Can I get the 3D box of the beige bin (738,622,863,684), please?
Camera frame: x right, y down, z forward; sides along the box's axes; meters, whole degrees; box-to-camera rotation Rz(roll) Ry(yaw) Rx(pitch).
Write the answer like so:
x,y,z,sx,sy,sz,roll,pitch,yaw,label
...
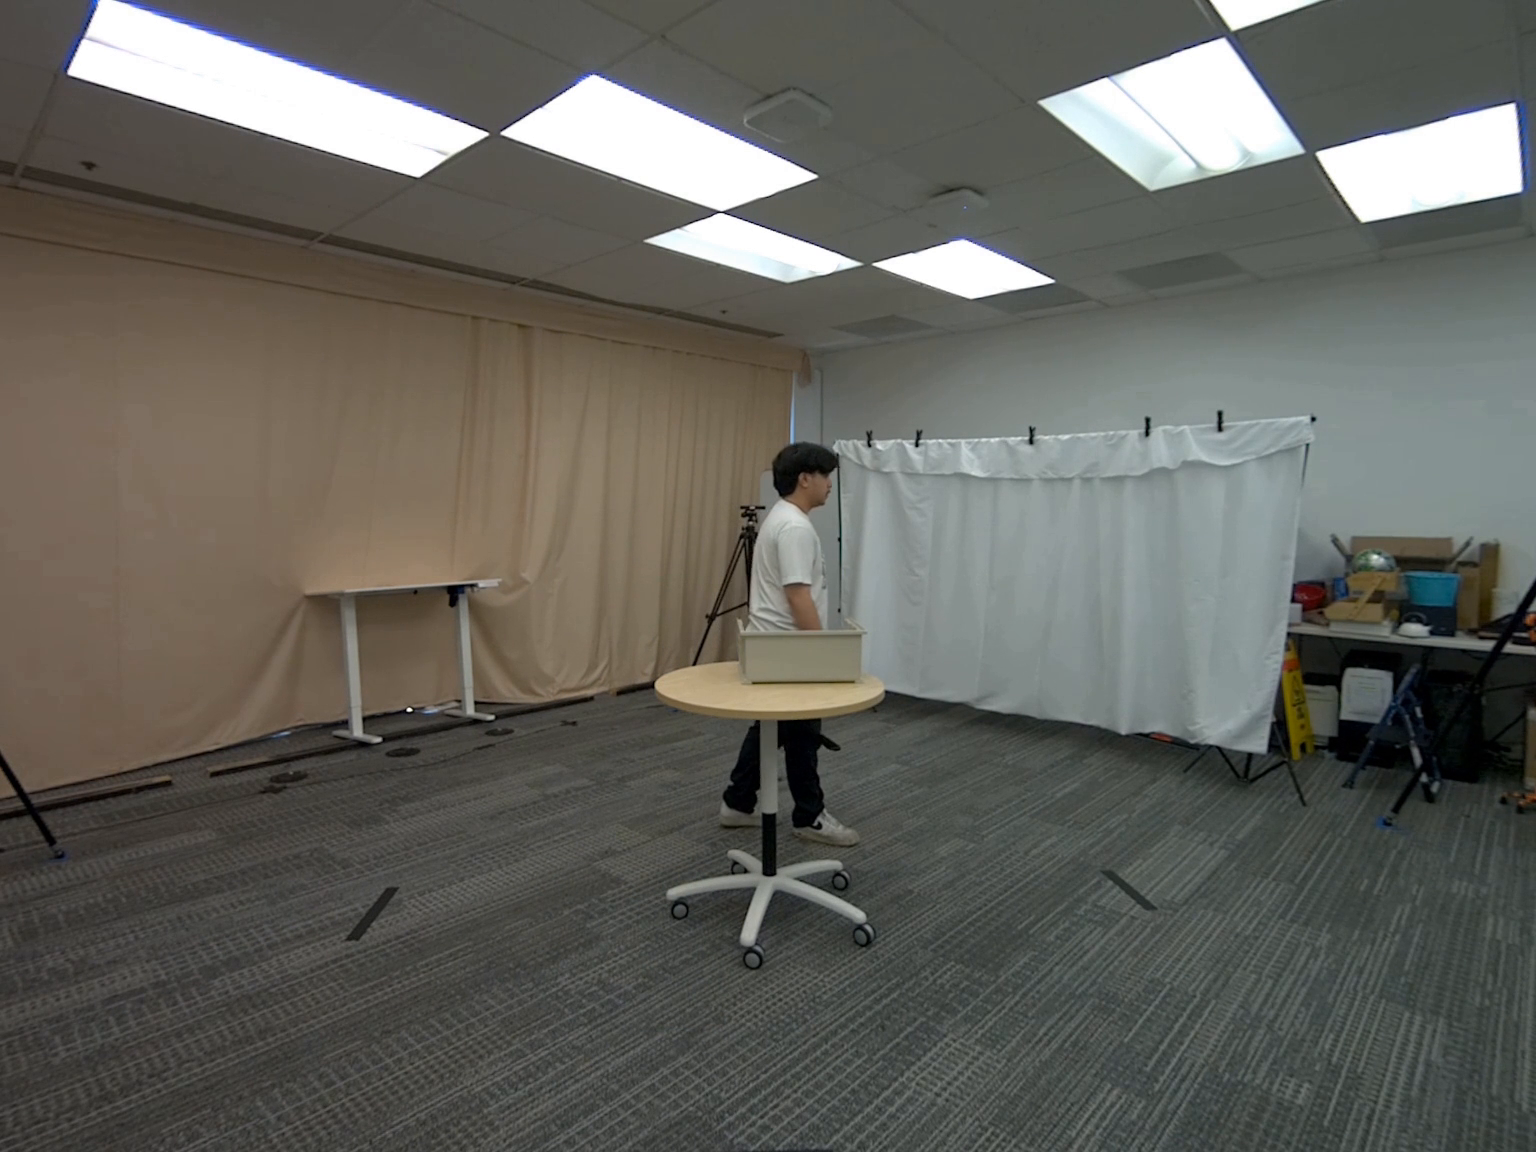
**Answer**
x,y,z,sx,sy,sz,roll,pitch,yaw,label
0.104,0.245,2.976,0.421,0.188,0.380,1,6,-4,beige bin
